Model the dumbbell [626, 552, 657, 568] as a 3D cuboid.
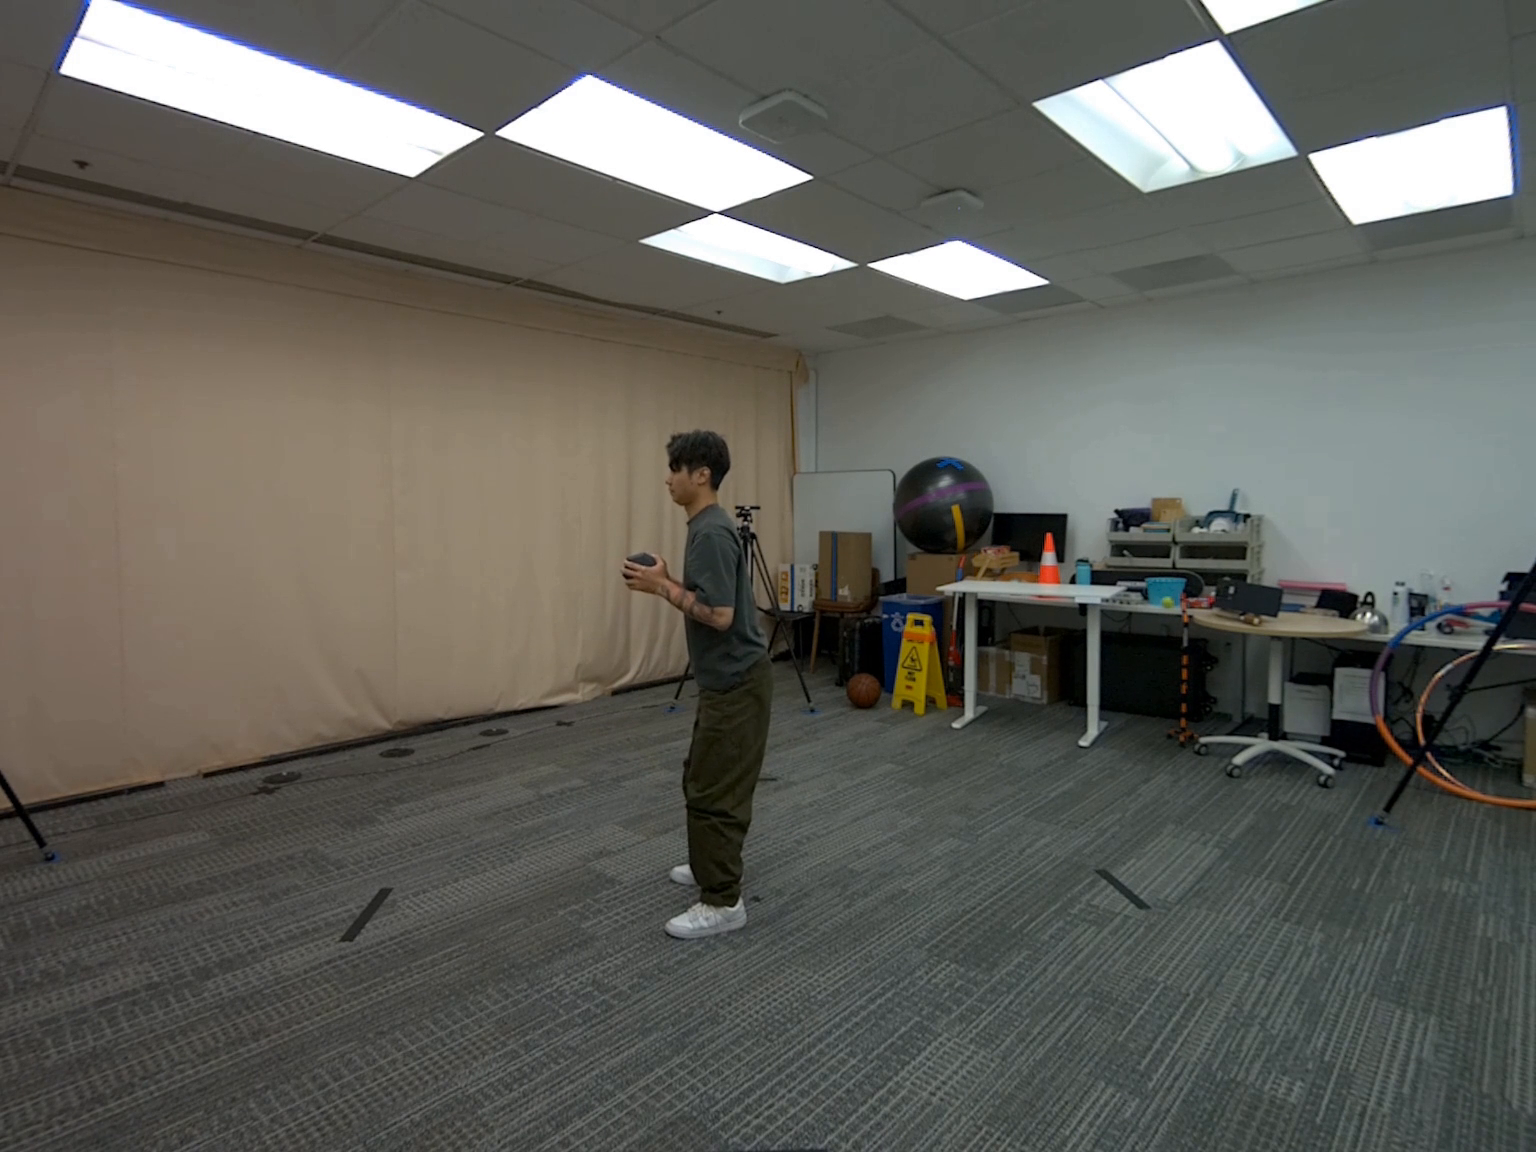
[{"bbox_3d":[-0.415,-0.010,2.887,0.108,0.123,0.293,-45,0,-4],"label":"dumbbell"}]
